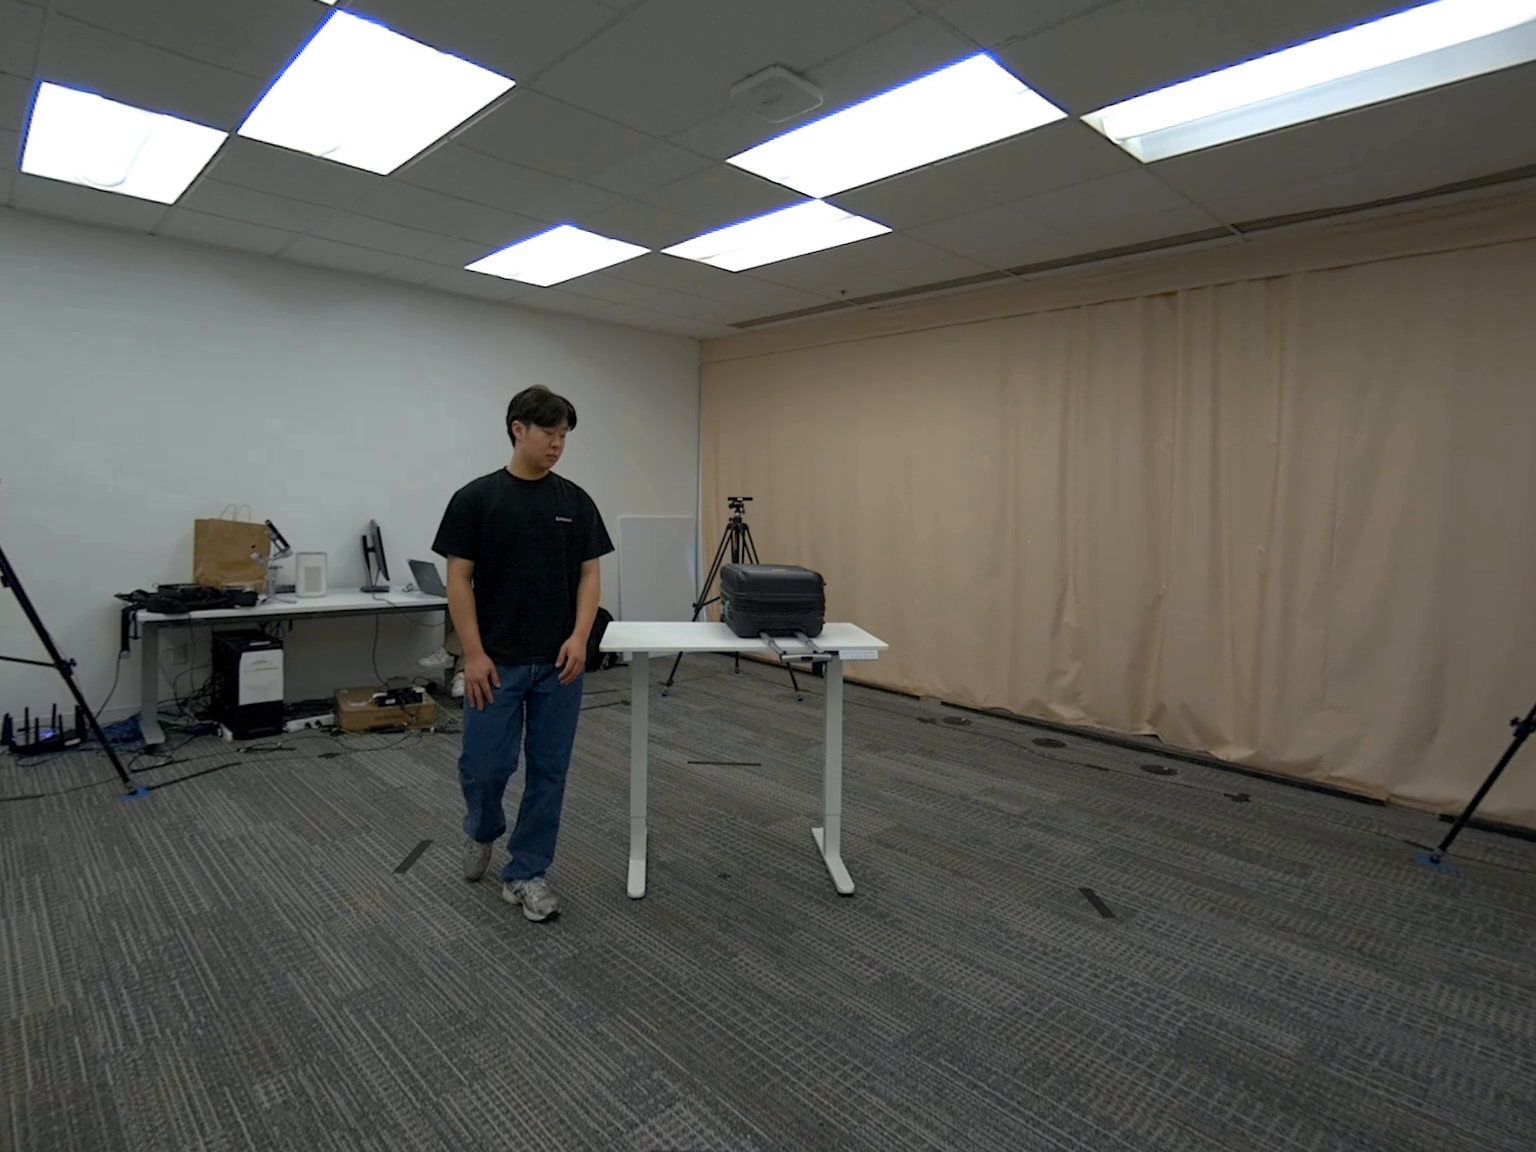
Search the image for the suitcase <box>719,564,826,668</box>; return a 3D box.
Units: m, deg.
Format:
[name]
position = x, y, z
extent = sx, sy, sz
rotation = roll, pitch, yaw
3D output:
[suitcase]
position = 0.035, 0.104, 3.098
extent = 0.381, 0.257, 0.987
rotation = 1, 3, -10
